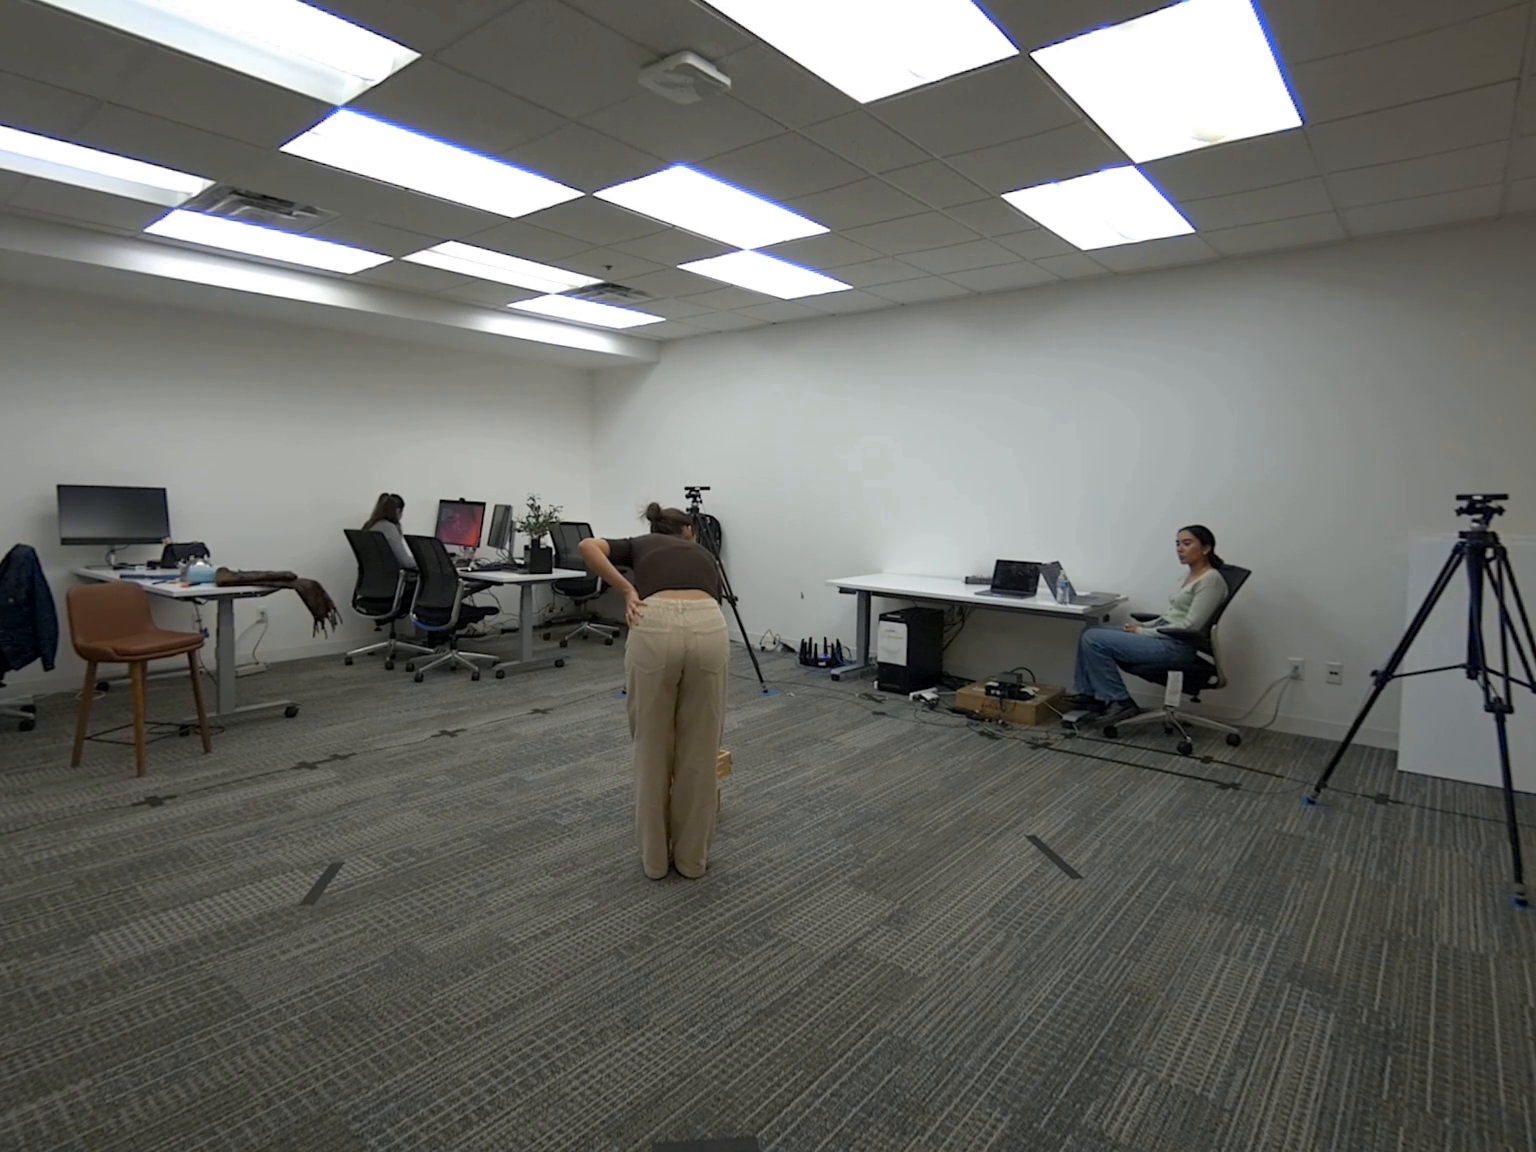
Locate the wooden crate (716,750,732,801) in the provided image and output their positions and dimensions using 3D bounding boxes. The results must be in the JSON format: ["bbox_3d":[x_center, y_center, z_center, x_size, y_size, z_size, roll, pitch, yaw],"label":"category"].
[{"bbox_3d":[-0.377,0.873,3.604,0.311,0.272,0.316,5,6,32],"label":"wooden crate"}]
